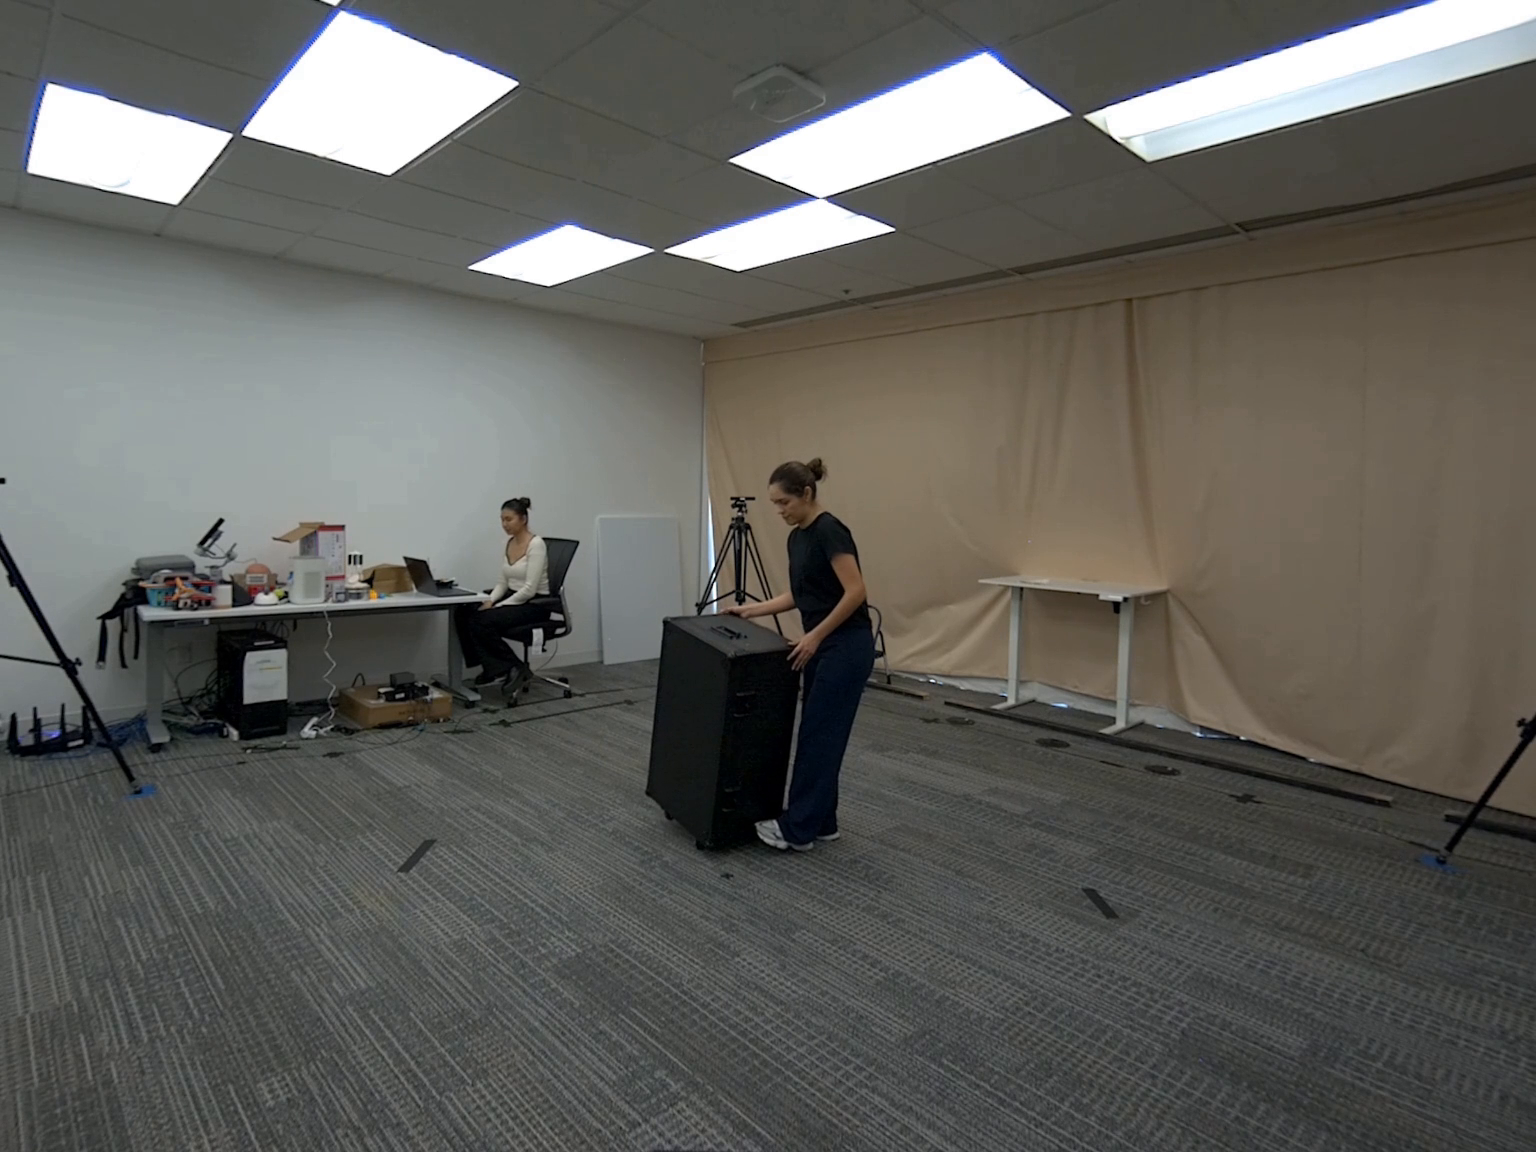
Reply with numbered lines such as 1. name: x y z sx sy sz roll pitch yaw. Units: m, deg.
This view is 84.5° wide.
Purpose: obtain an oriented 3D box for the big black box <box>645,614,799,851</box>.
1. big black box: -0.194 0.630 3.428 0.387 0.855 0.536 -1 13 -38
